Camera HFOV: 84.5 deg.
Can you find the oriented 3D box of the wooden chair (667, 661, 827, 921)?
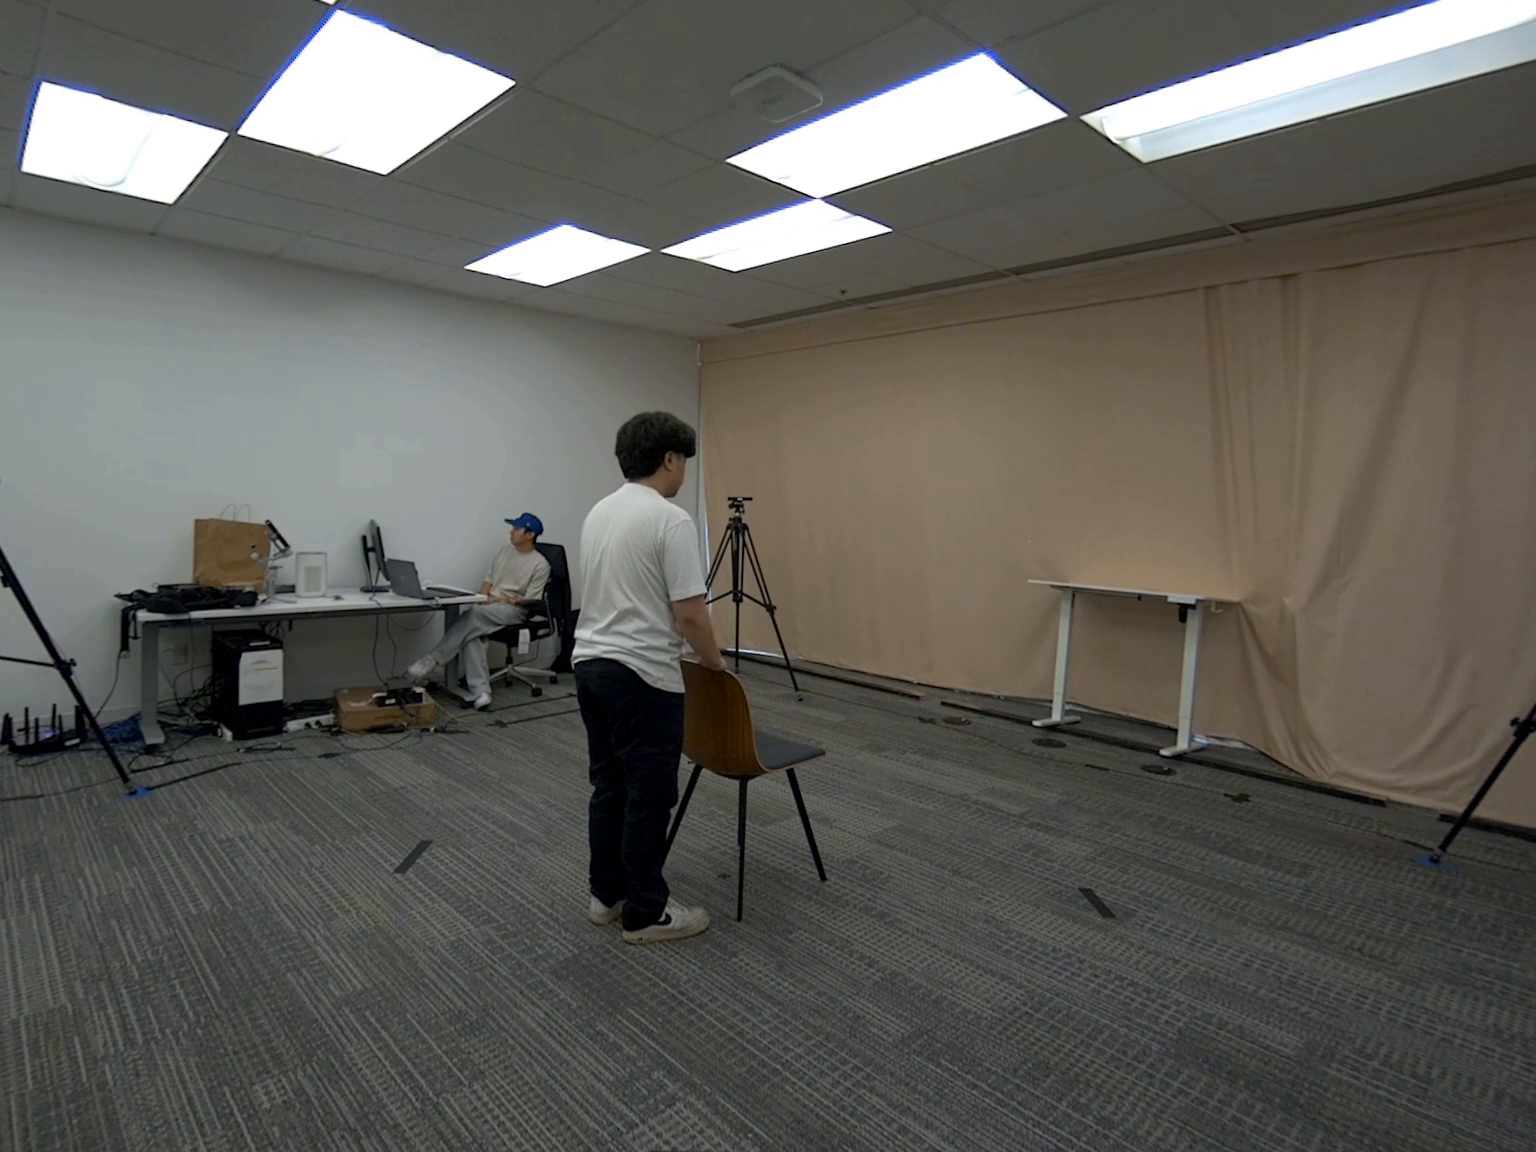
[{"bbox_3d":[-0.092,0.689,3.065,0.490,0.873,0.512,4,8,44],"label":"wooden chair"}]
